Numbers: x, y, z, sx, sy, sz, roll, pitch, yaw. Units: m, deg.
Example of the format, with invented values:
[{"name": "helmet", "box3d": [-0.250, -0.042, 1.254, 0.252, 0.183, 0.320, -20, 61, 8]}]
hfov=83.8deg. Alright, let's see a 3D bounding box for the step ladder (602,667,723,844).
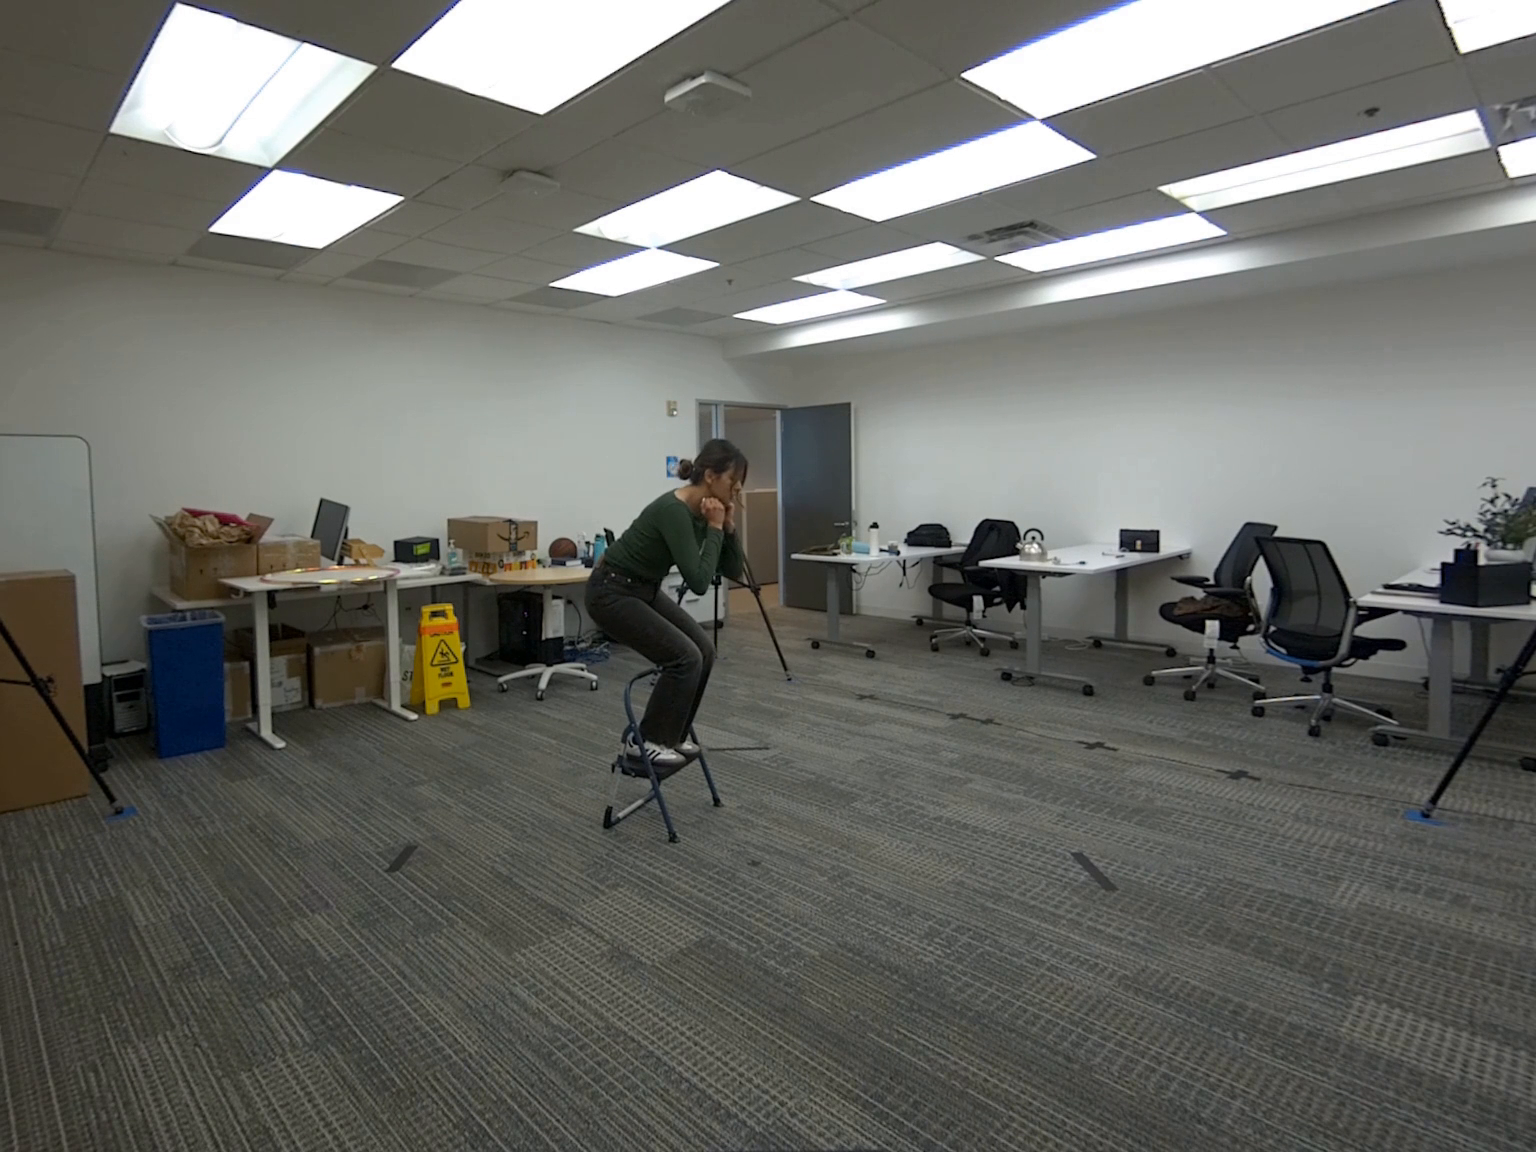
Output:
[{"name": "step ladder", "box3d": [-0.439, 0.701, 3.538, 0.357, 0.604, 0.423, 0, 4, 23]}]
